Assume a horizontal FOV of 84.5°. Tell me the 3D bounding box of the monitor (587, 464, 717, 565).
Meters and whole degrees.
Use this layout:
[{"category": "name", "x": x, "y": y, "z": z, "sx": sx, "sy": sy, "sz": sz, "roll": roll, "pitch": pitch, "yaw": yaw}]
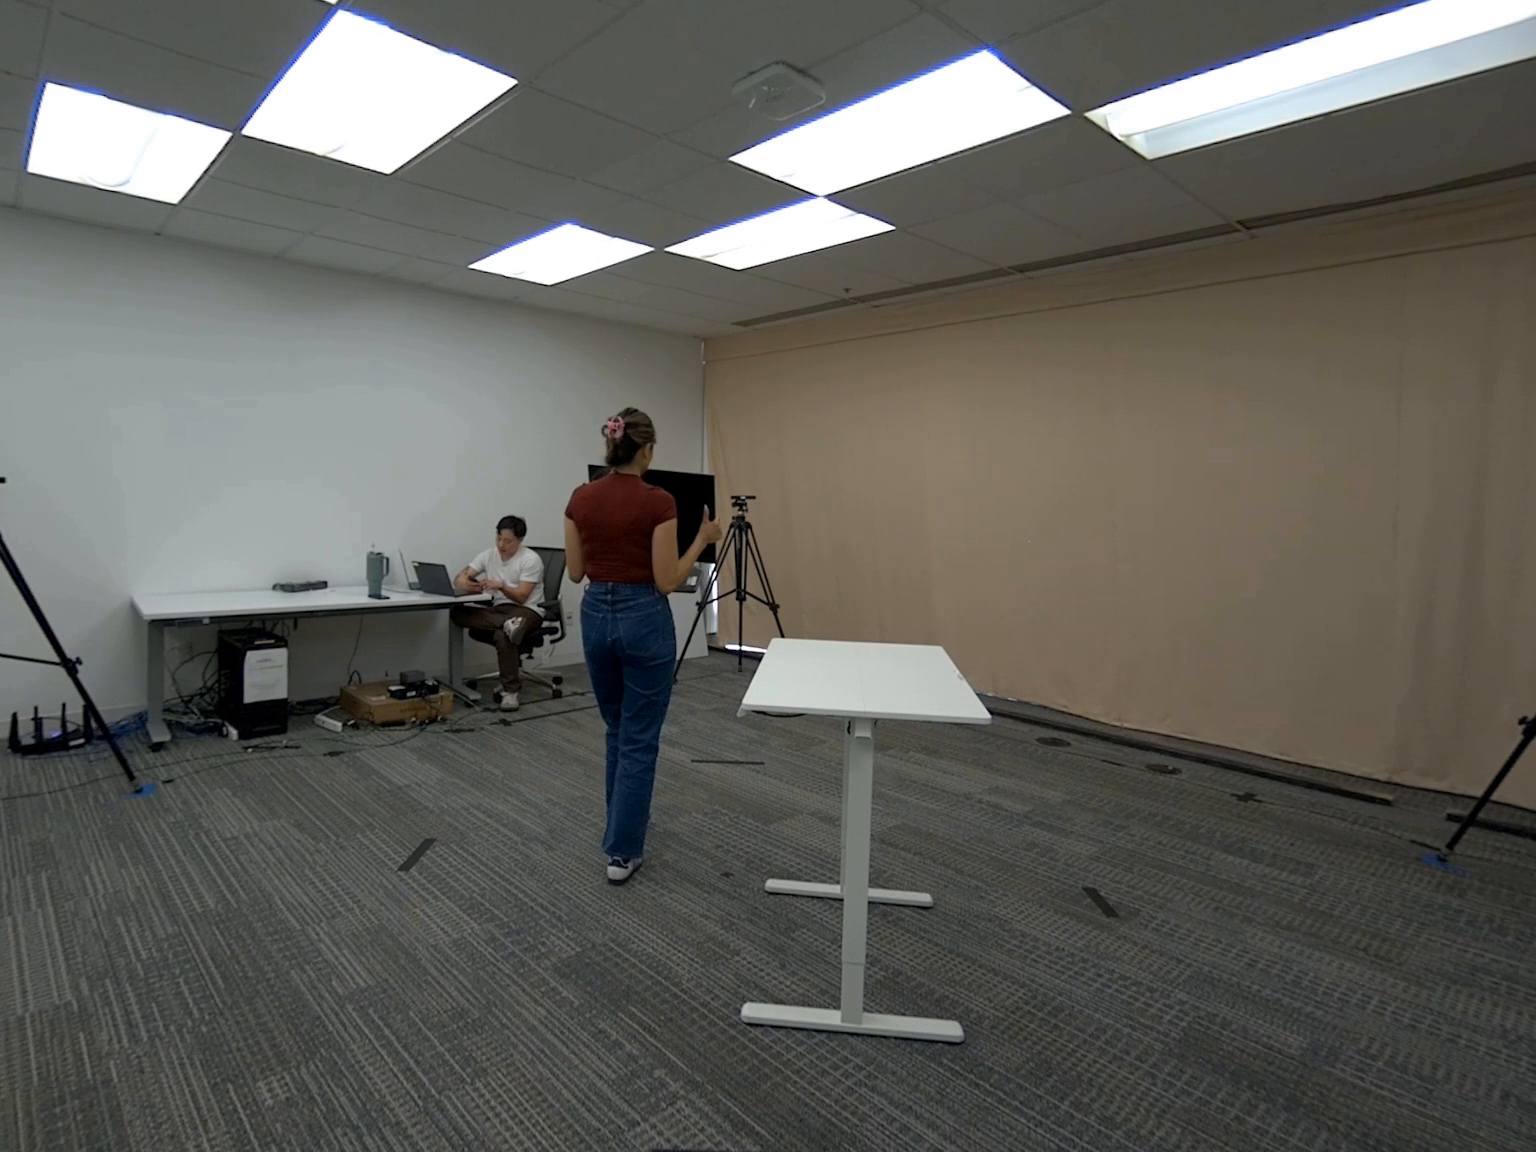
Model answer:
[{"category": "monitor", "x": -0.442, "y": -0.188, "z": 3.341, "sx": 0.547, "sy": 0.511, "sz": 0.188, "roll": 6, "pitch": 36, "yaw": 18}]
